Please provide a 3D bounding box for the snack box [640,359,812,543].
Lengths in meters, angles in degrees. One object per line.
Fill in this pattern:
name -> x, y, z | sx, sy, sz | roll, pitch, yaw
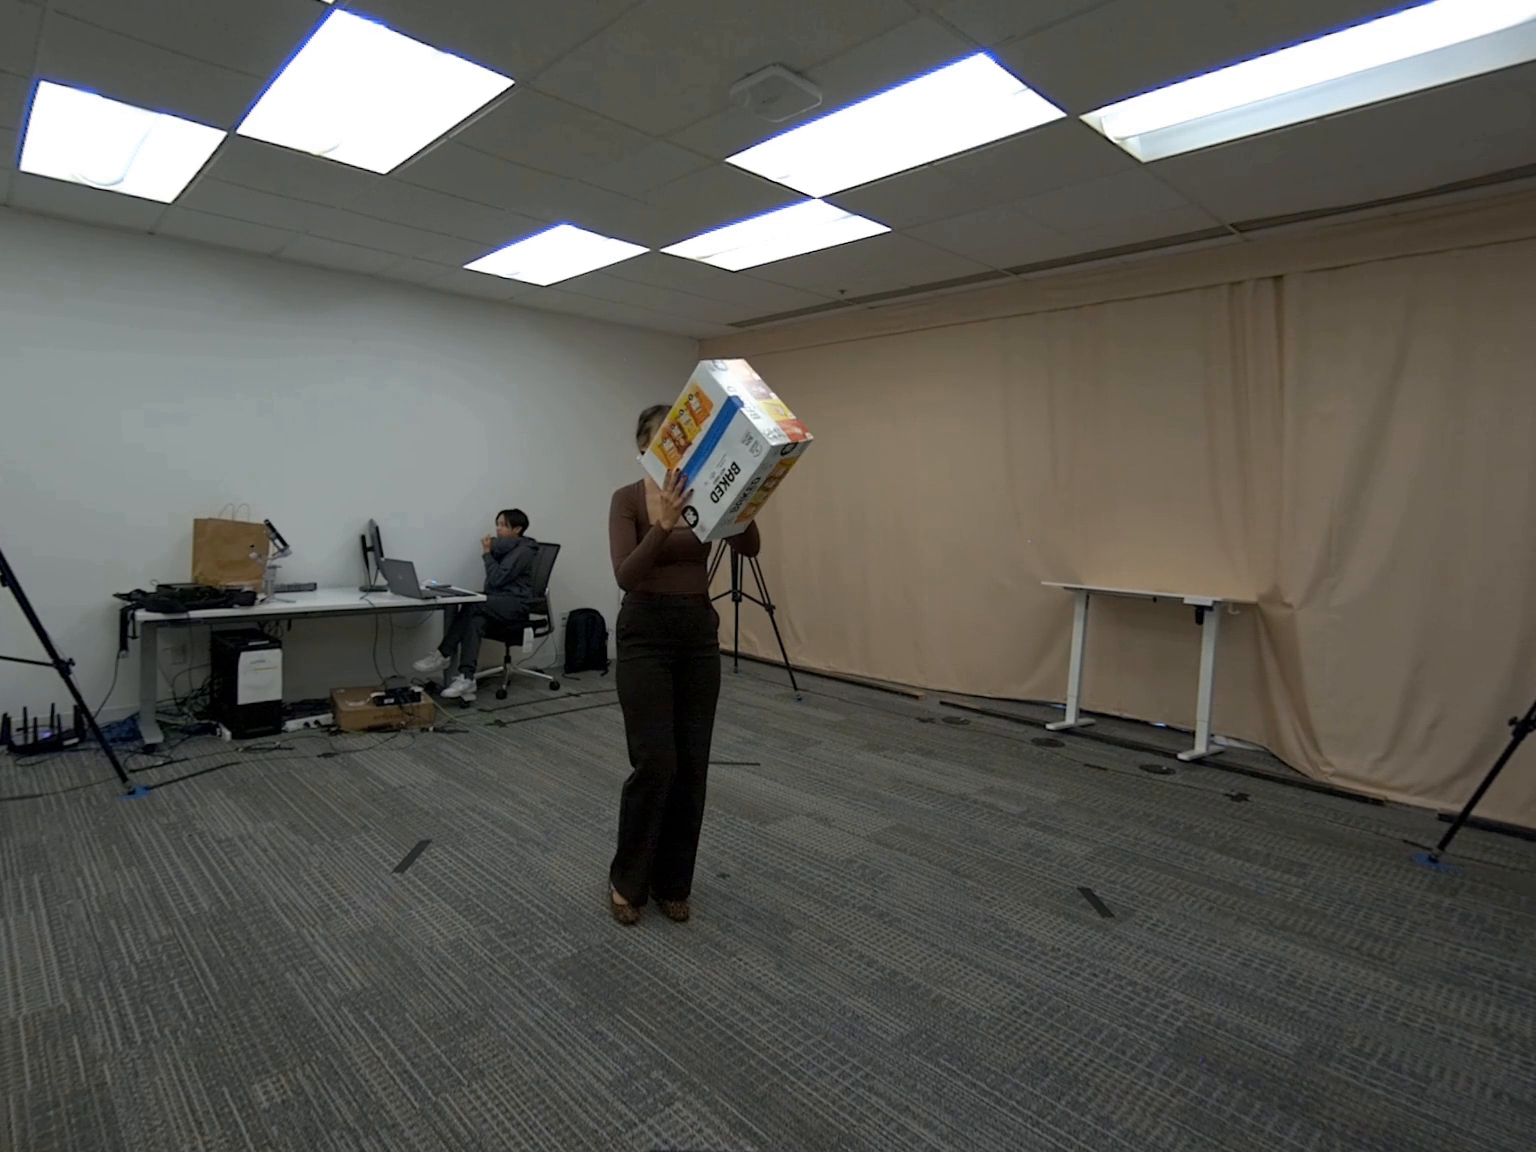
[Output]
snack box -> -0.138, -0.370, 2.482 | 0.202, 0.347, 0.404 | -15, -29, -49
